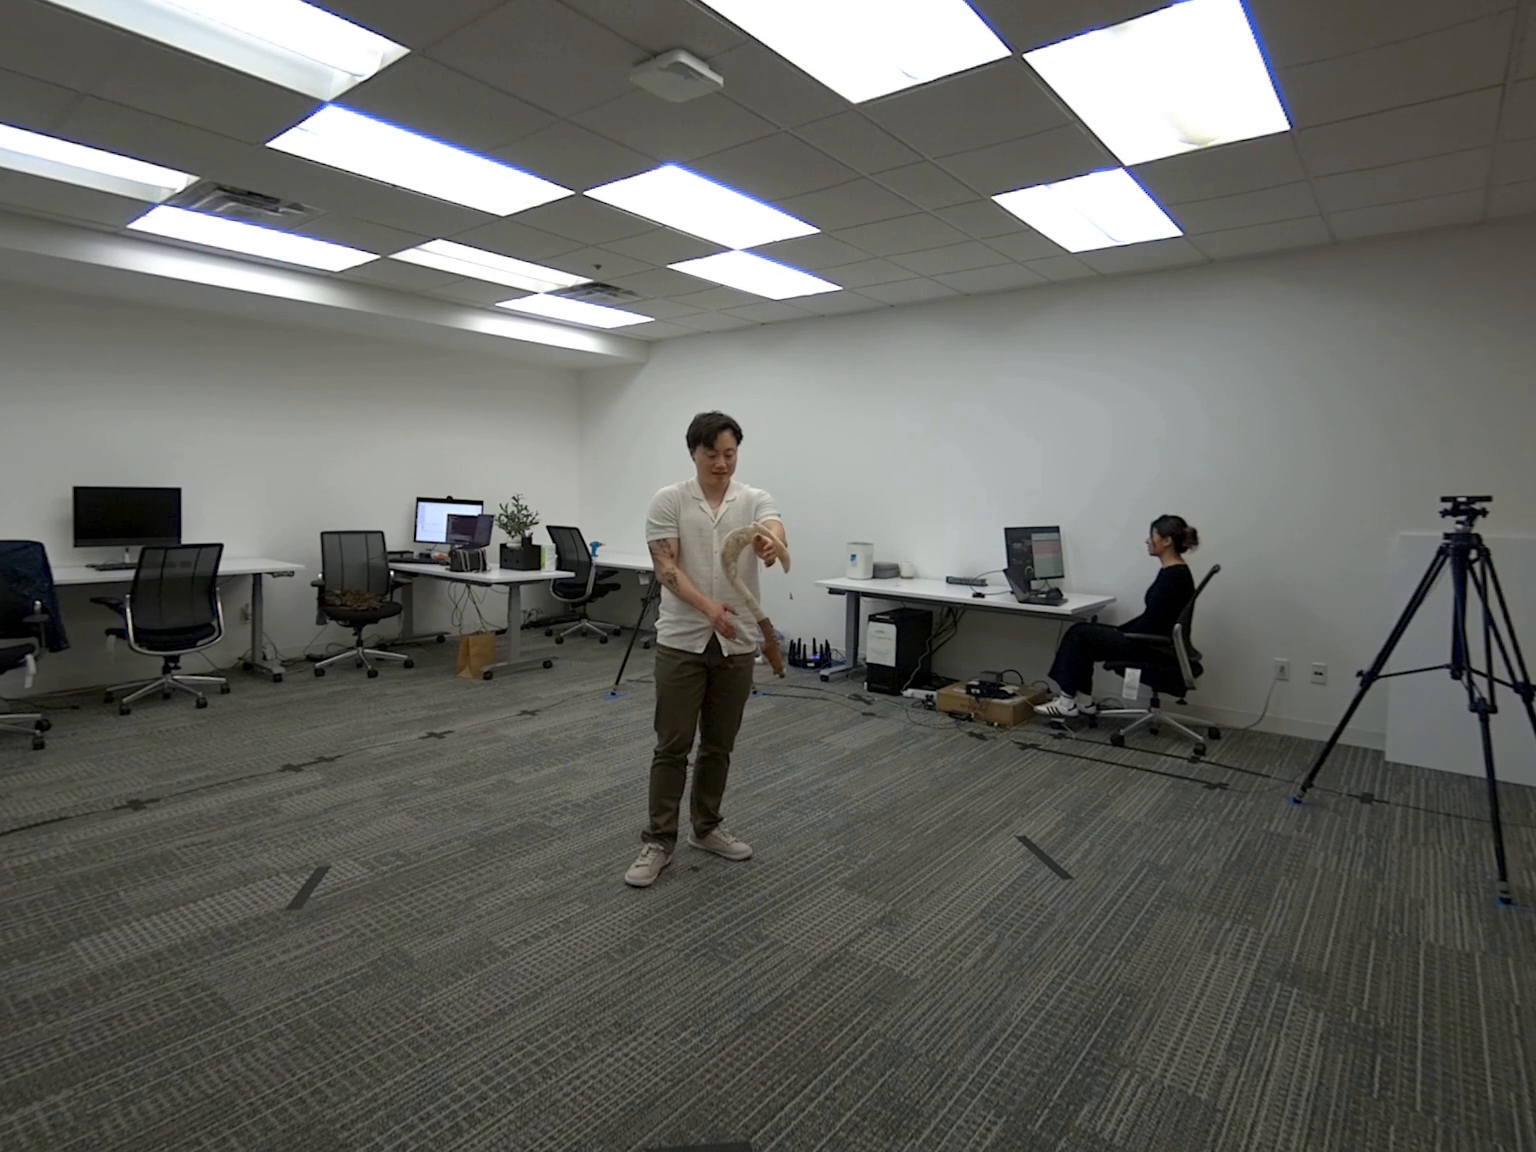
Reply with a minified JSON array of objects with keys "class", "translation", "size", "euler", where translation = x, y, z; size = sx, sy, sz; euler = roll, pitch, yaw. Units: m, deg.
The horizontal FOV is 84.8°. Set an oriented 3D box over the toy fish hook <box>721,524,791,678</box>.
[{"class":"toy fish hook","translation":[-0.002,0.071,2.761],"size":[0.227,0.512,0.047],"euler":[-23,-8,17]}]
